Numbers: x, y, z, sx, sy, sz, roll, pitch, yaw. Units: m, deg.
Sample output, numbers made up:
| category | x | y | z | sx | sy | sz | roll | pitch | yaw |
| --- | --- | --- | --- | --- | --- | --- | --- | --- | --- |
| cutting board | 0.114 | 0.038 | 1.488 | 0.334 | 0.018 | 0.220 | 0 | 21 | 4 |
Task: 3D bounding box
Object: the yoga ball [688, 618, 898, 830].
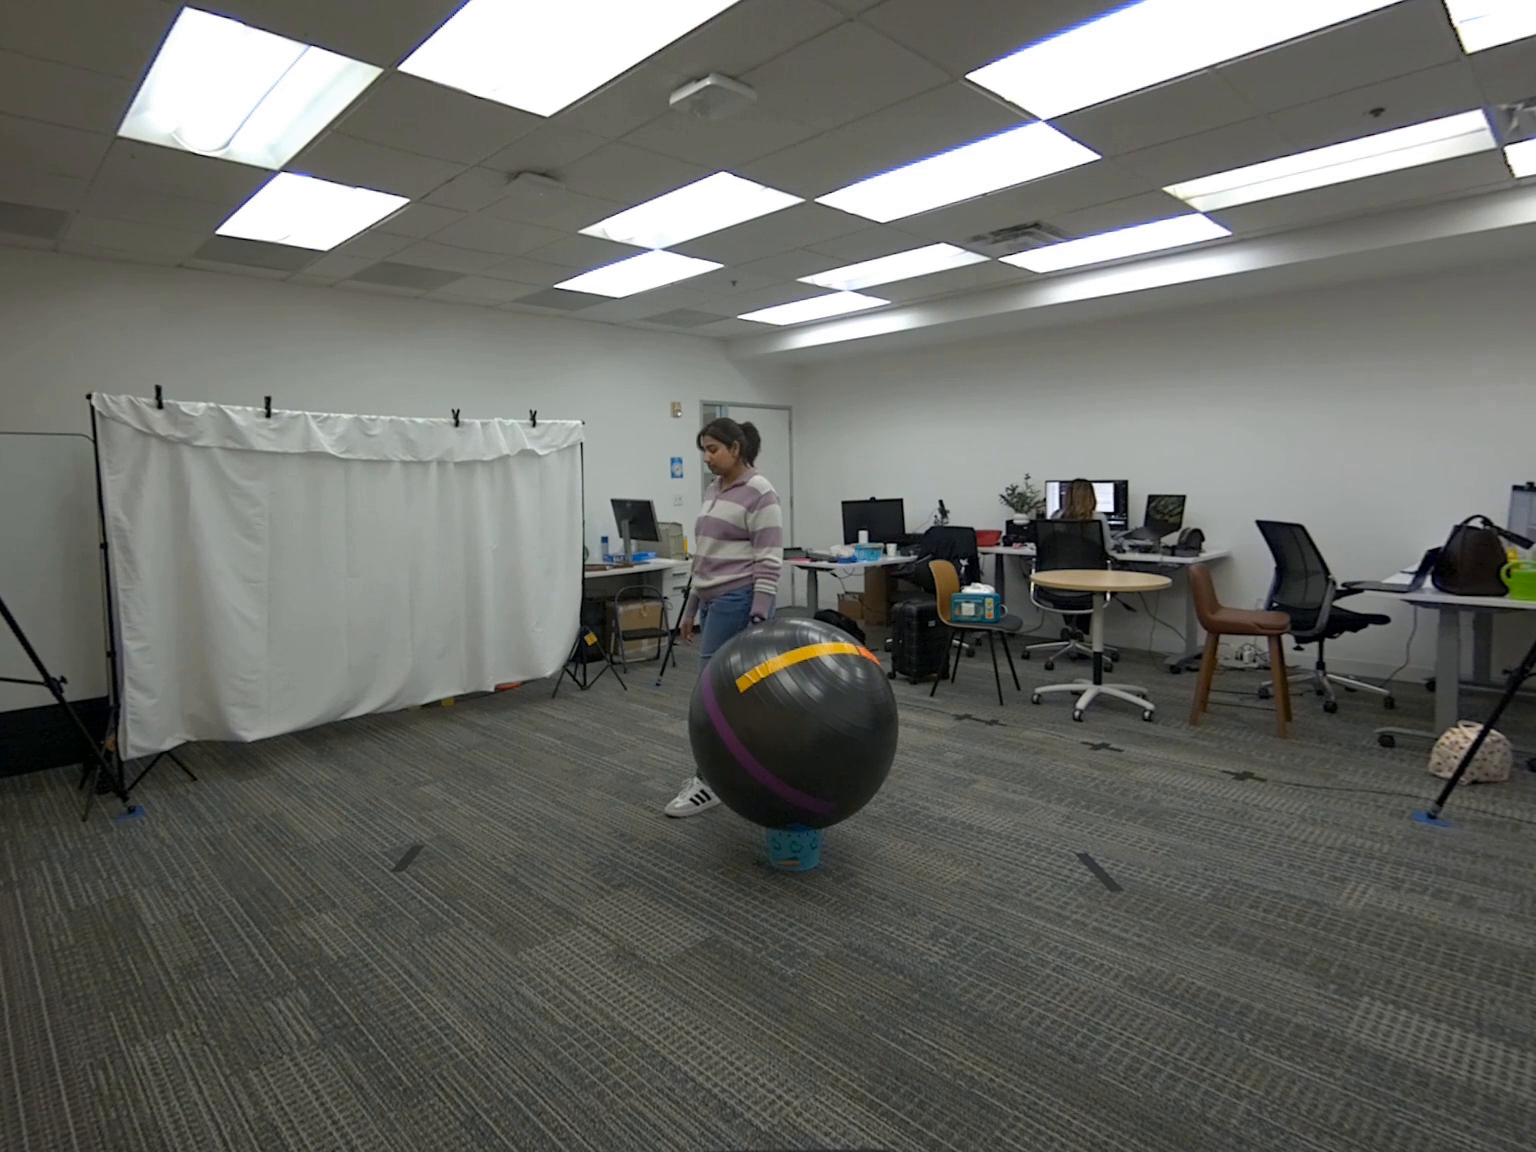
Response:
| category | x | y | z | sx | sy | sz | roll | pitch | yaw |
| --- | --- | --- | --- | --- | --- | --- | --- | --- | --- |
| yoga ball | 0.091 | 0.534 | 3.102 | 0.757 | 0.755 | 0.762 | -1 | 5 | -2 |
